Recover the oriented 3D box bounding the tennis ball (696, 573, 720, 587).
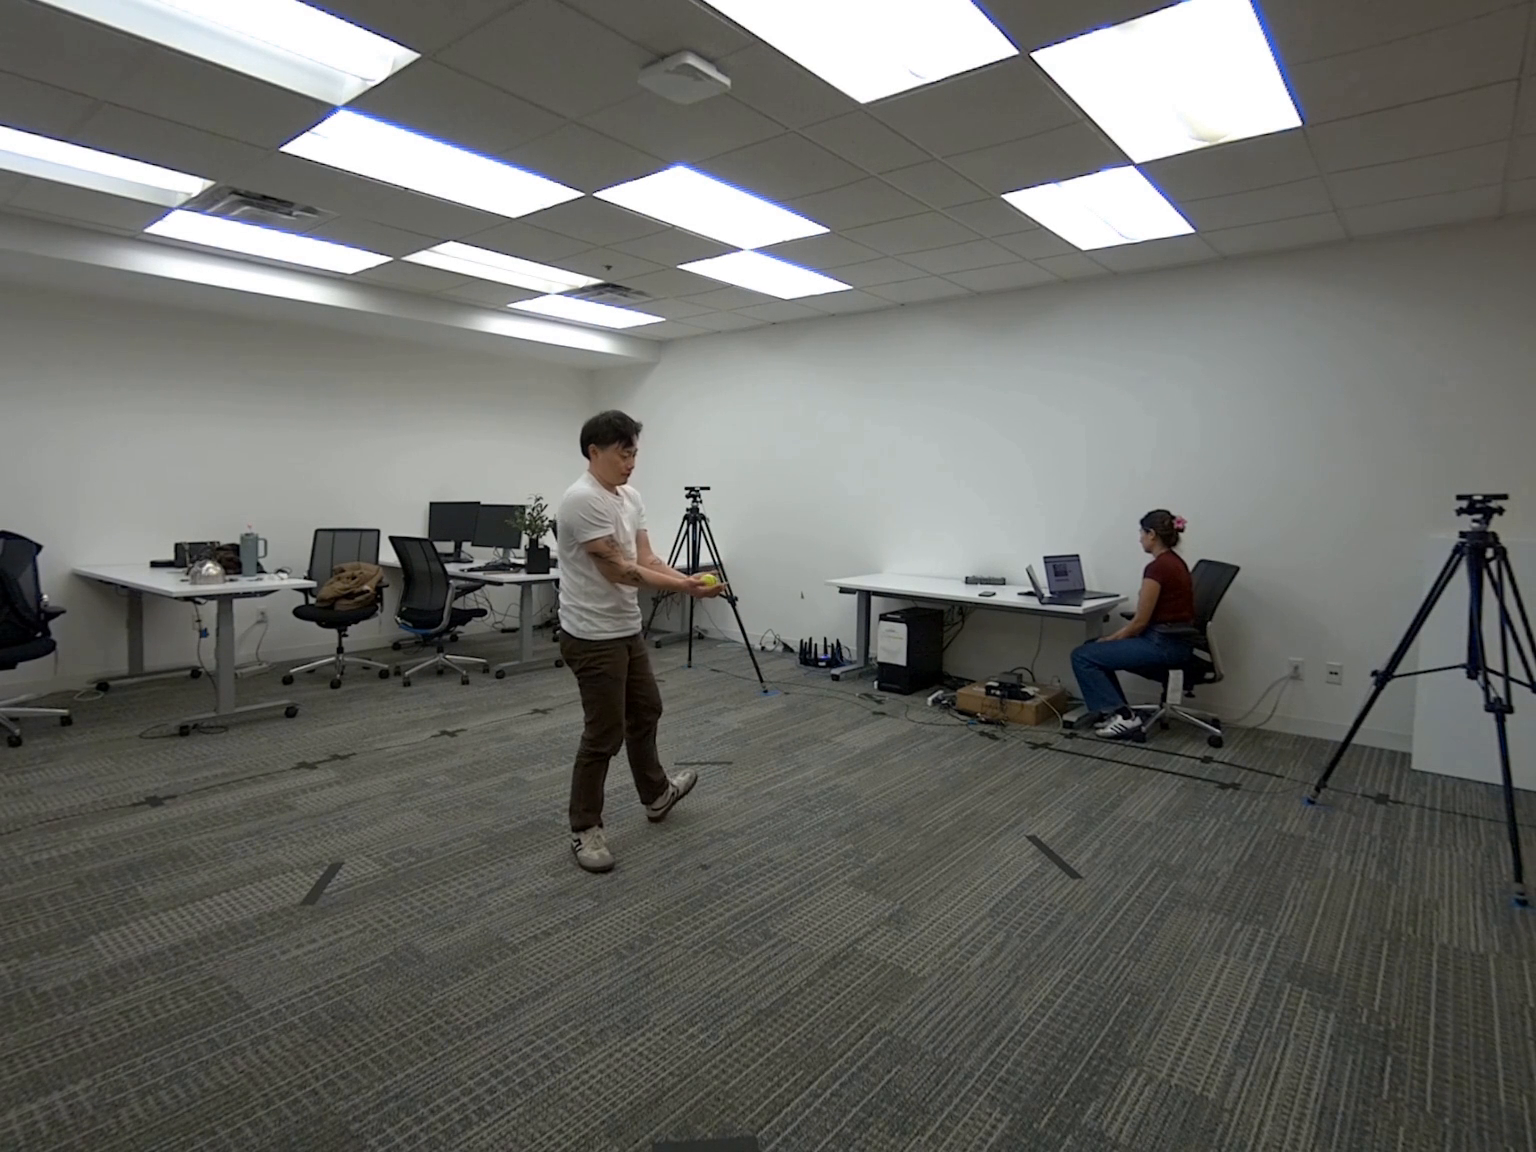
[{"bbox_3d":[-0.207,0.017,3.118,0.066,0.066,0.067,1,4,-2],"label":"tennis ball"}]
